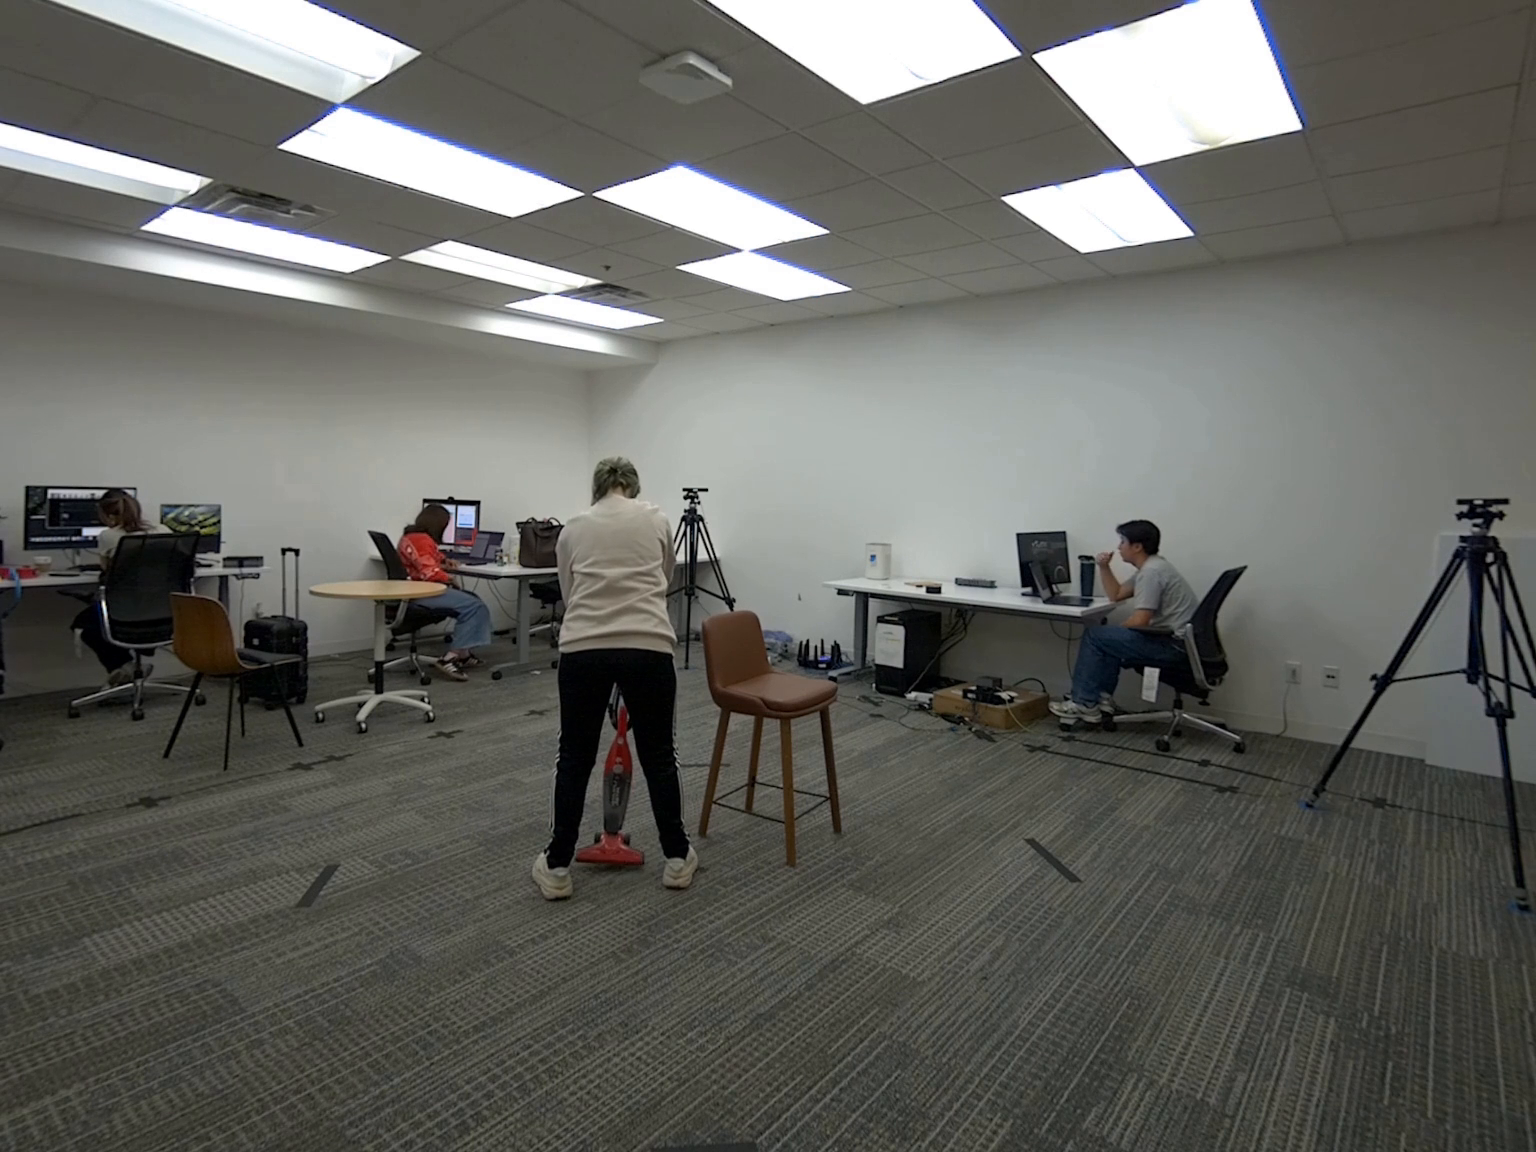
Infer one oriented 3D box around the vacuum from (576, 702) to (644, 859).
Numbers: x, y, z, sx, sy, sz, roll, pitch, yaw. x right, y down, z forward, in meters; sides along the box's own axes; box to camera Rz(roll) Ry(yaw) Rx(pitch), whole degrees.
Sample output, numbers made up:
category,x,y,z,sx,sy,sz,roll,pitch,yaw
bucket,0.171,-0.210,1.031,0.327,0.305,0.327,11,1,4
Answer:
category,x,y,z,sx,sy,sz,roll,pitch,yaw
vacuum,-0.580,0.526,3.351,0.257,1.072,0.138,-9,-27,22
